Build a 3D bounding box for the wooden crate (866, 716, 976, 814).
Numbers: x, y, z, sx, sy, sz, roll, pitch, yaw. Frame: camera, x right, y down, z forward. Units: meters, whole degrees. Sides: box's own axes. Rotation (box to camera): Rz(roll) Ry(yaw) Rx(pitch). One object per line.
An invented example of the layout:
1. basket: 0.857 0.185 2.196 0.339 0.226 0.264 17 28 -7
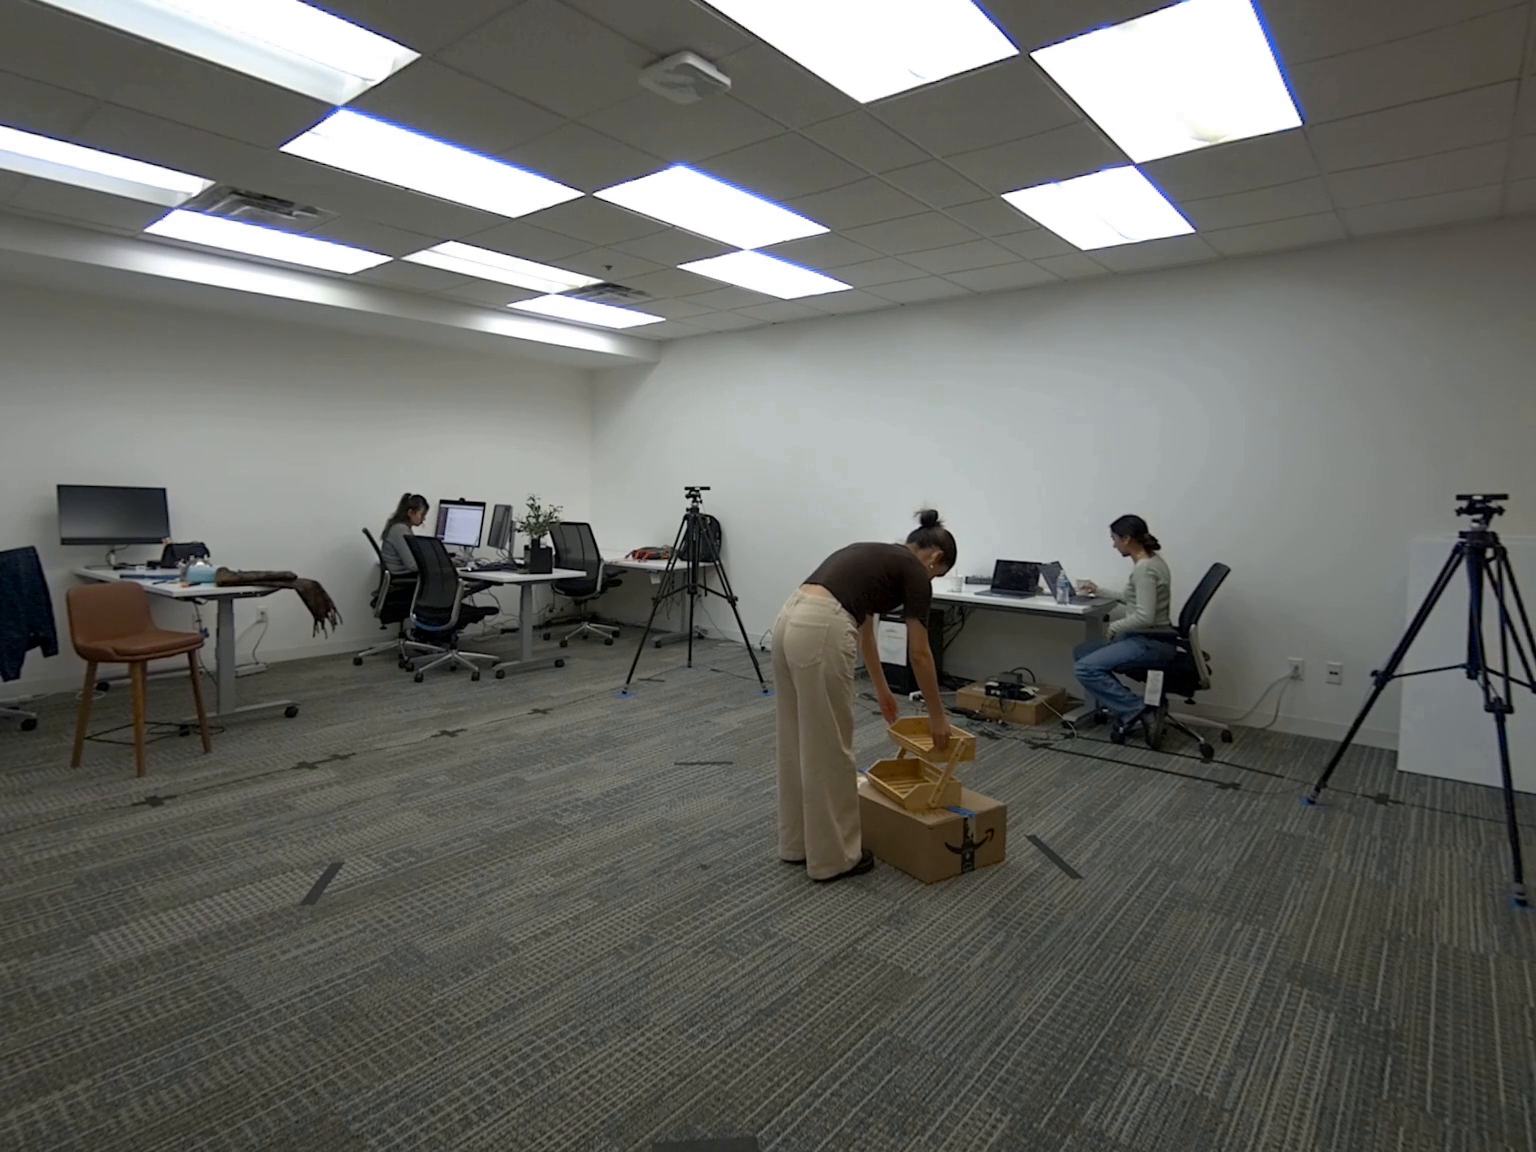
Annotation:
1. wooden crate: 0.567 0.708 3.313 0.296 0.272 0.332 0 5 -20
